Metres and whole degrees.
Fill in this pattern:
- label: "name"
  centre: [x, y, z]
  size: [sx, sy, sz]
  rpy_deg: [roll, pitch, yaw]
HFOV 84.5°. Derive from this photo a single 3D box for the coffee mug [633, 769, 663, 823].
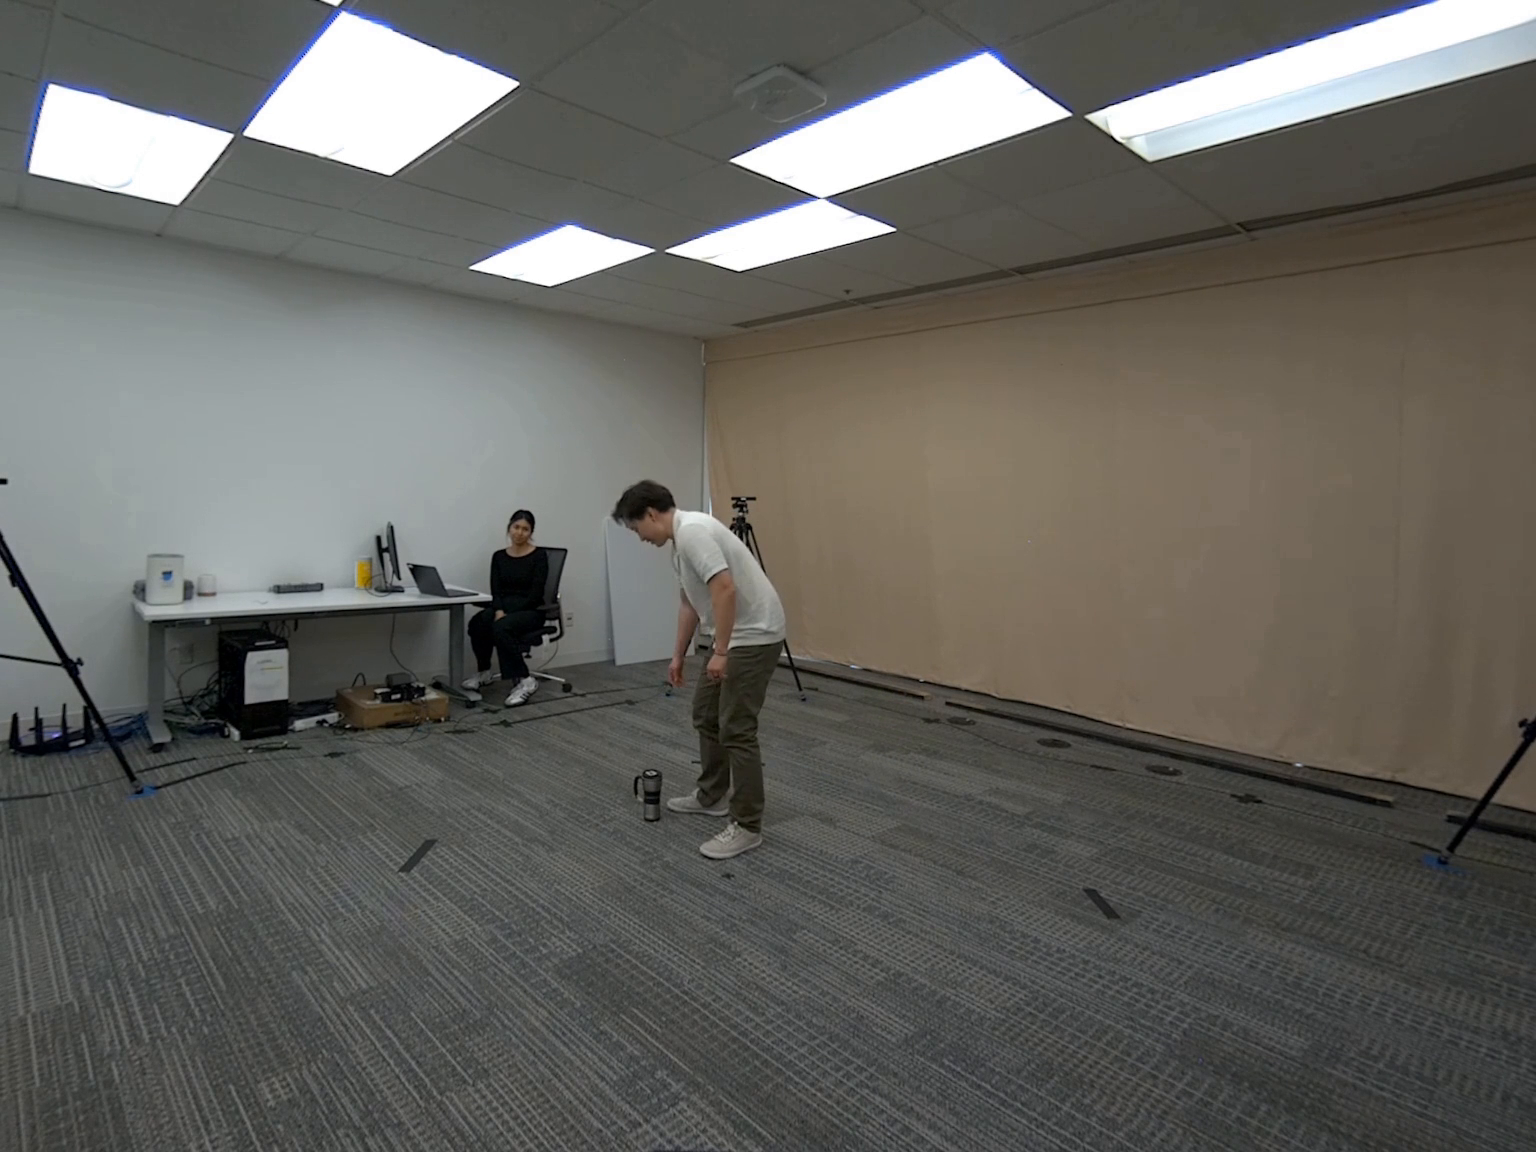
- label: "coffee mug"
  centre: [-0.531, 0.953, 3.652]
  size: [0.125, 0.202, 0.086]
  rpy_deg: [6, 8, 33]
